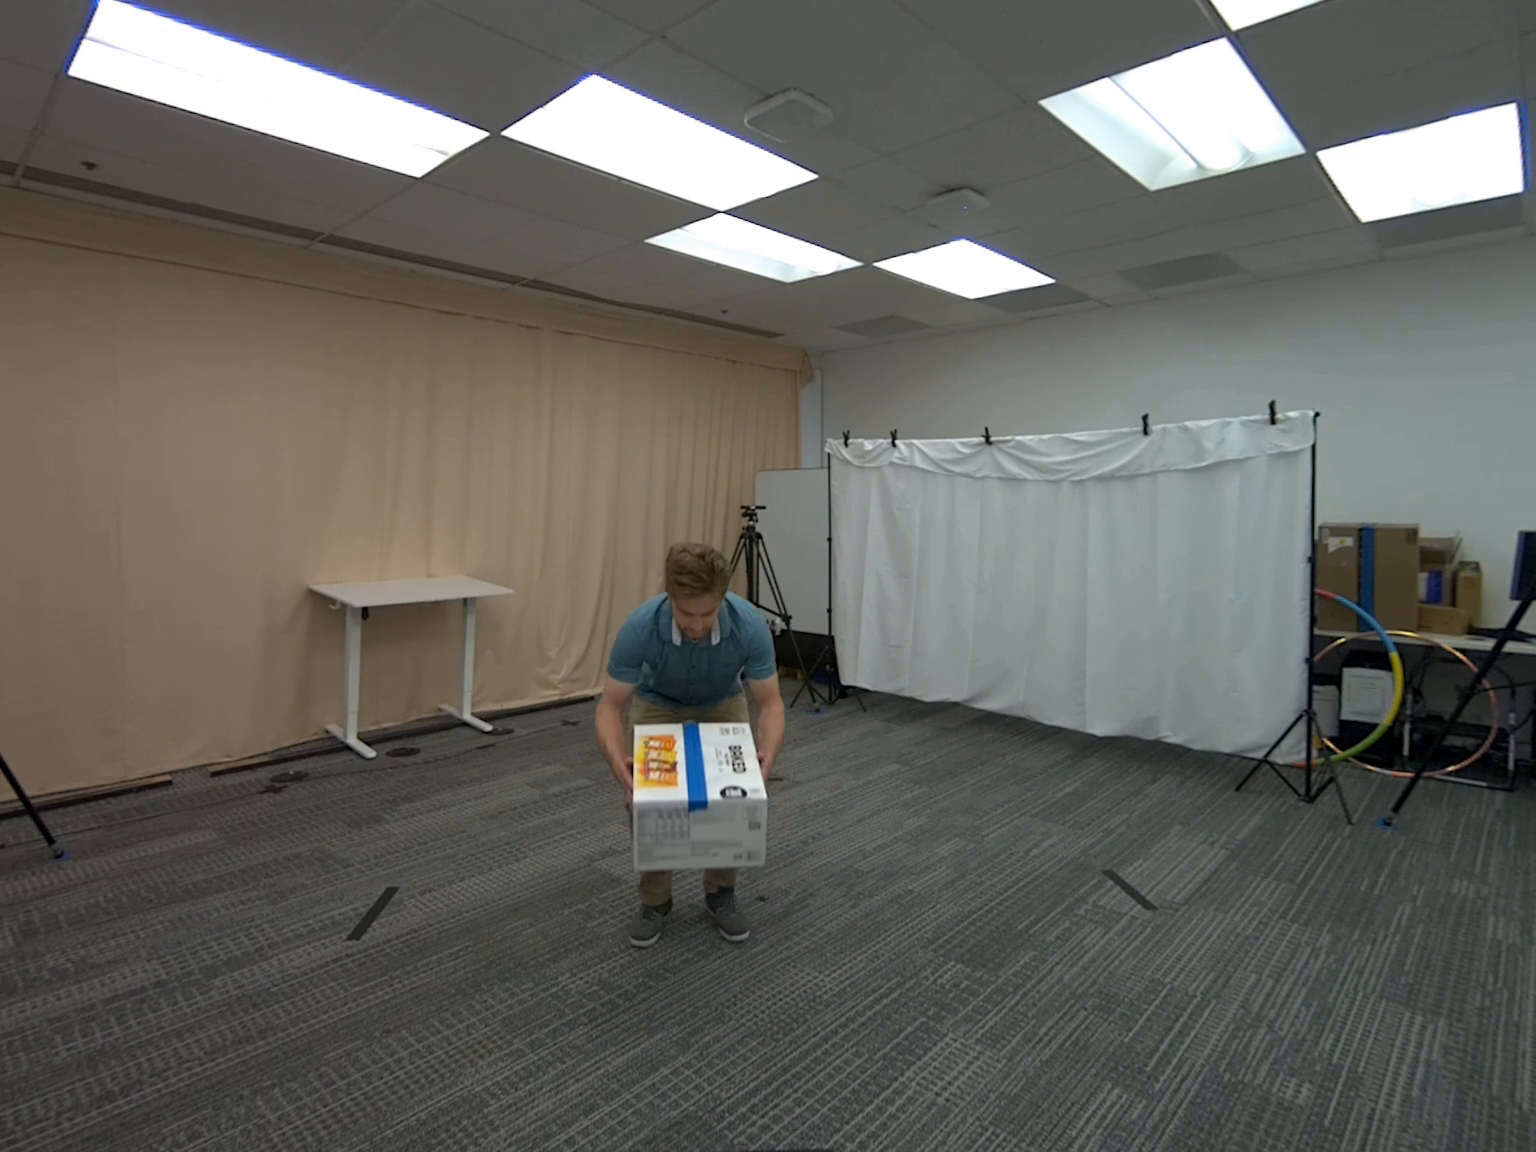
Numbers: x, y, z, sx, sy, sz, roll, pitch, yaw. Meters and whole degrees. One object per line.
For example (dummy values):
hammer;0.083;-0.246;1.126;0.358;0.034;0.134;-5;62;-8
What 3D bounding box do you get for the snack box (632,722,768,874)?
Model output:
snack box;-0.199;0.595;2.340;0.338;0.203;0.412;-1;18;-7
